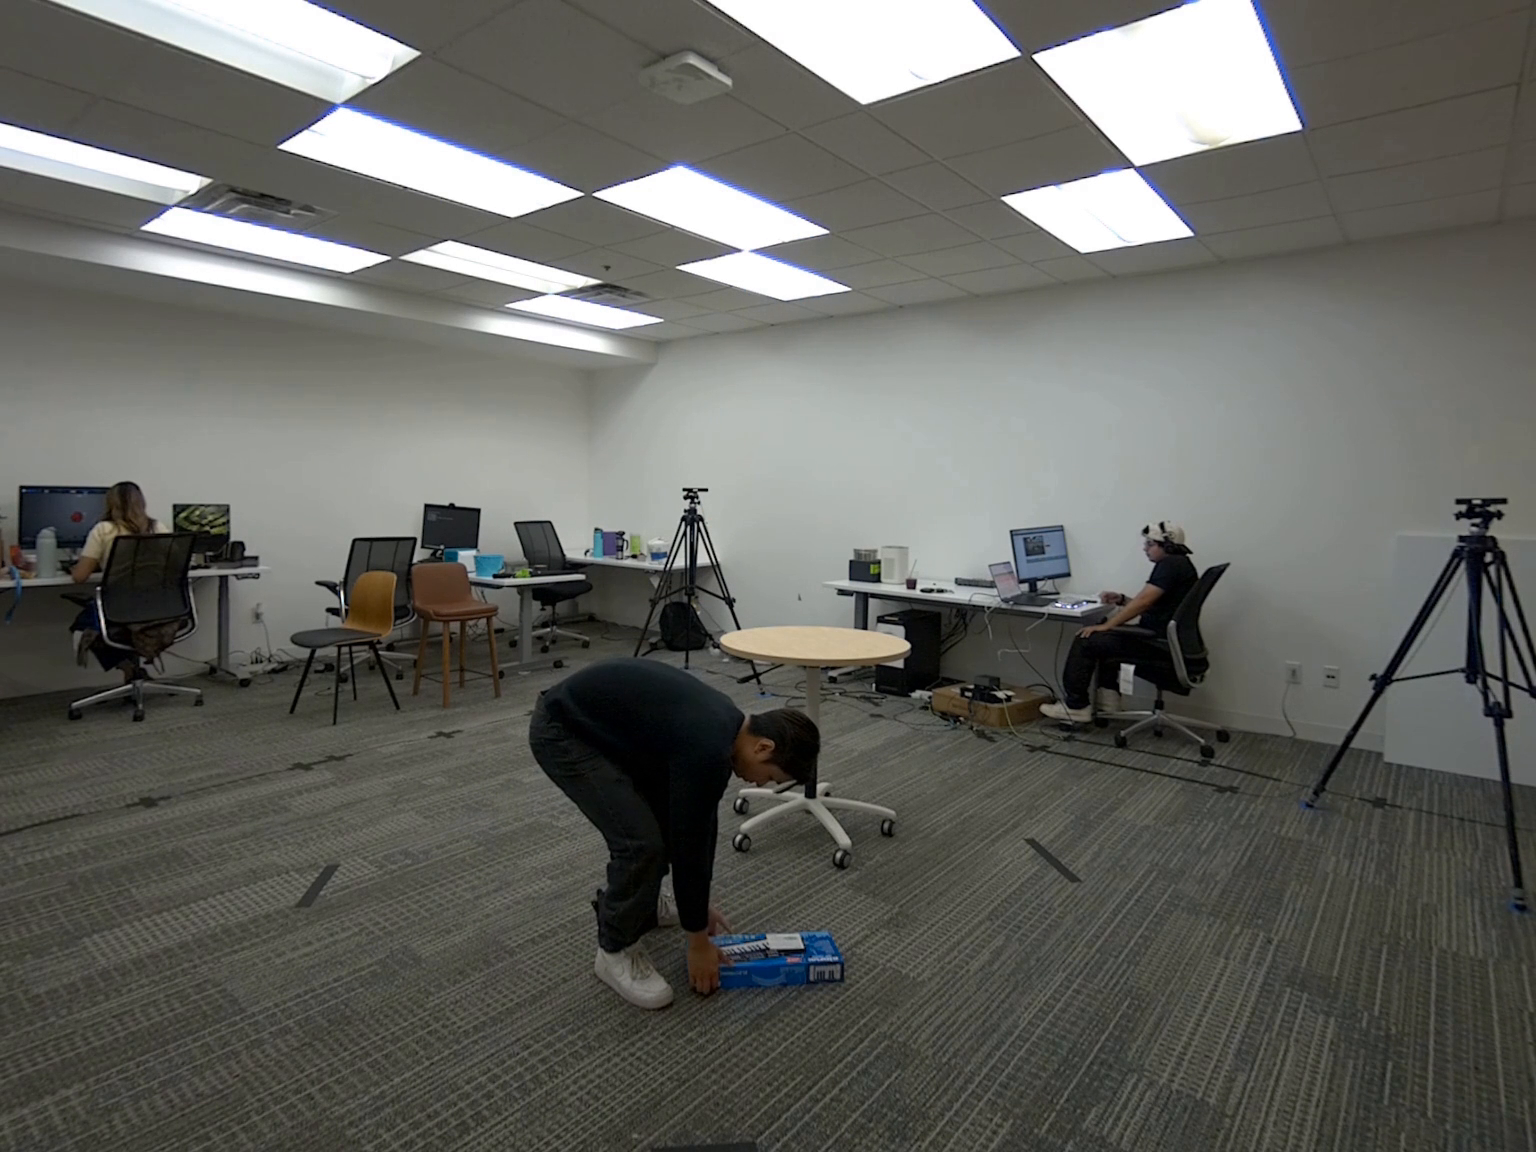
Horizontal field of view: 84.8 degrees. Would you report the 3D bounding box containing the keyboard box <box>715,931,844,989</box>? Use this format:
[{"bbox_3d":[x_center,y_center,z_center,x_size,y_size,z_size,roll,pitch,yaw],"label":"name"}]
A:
[{"bbox_3d":[-0.018,1.108,2.464,0.432,0.059,0.178,0,6,-9],"label":"keyboard box"}]
